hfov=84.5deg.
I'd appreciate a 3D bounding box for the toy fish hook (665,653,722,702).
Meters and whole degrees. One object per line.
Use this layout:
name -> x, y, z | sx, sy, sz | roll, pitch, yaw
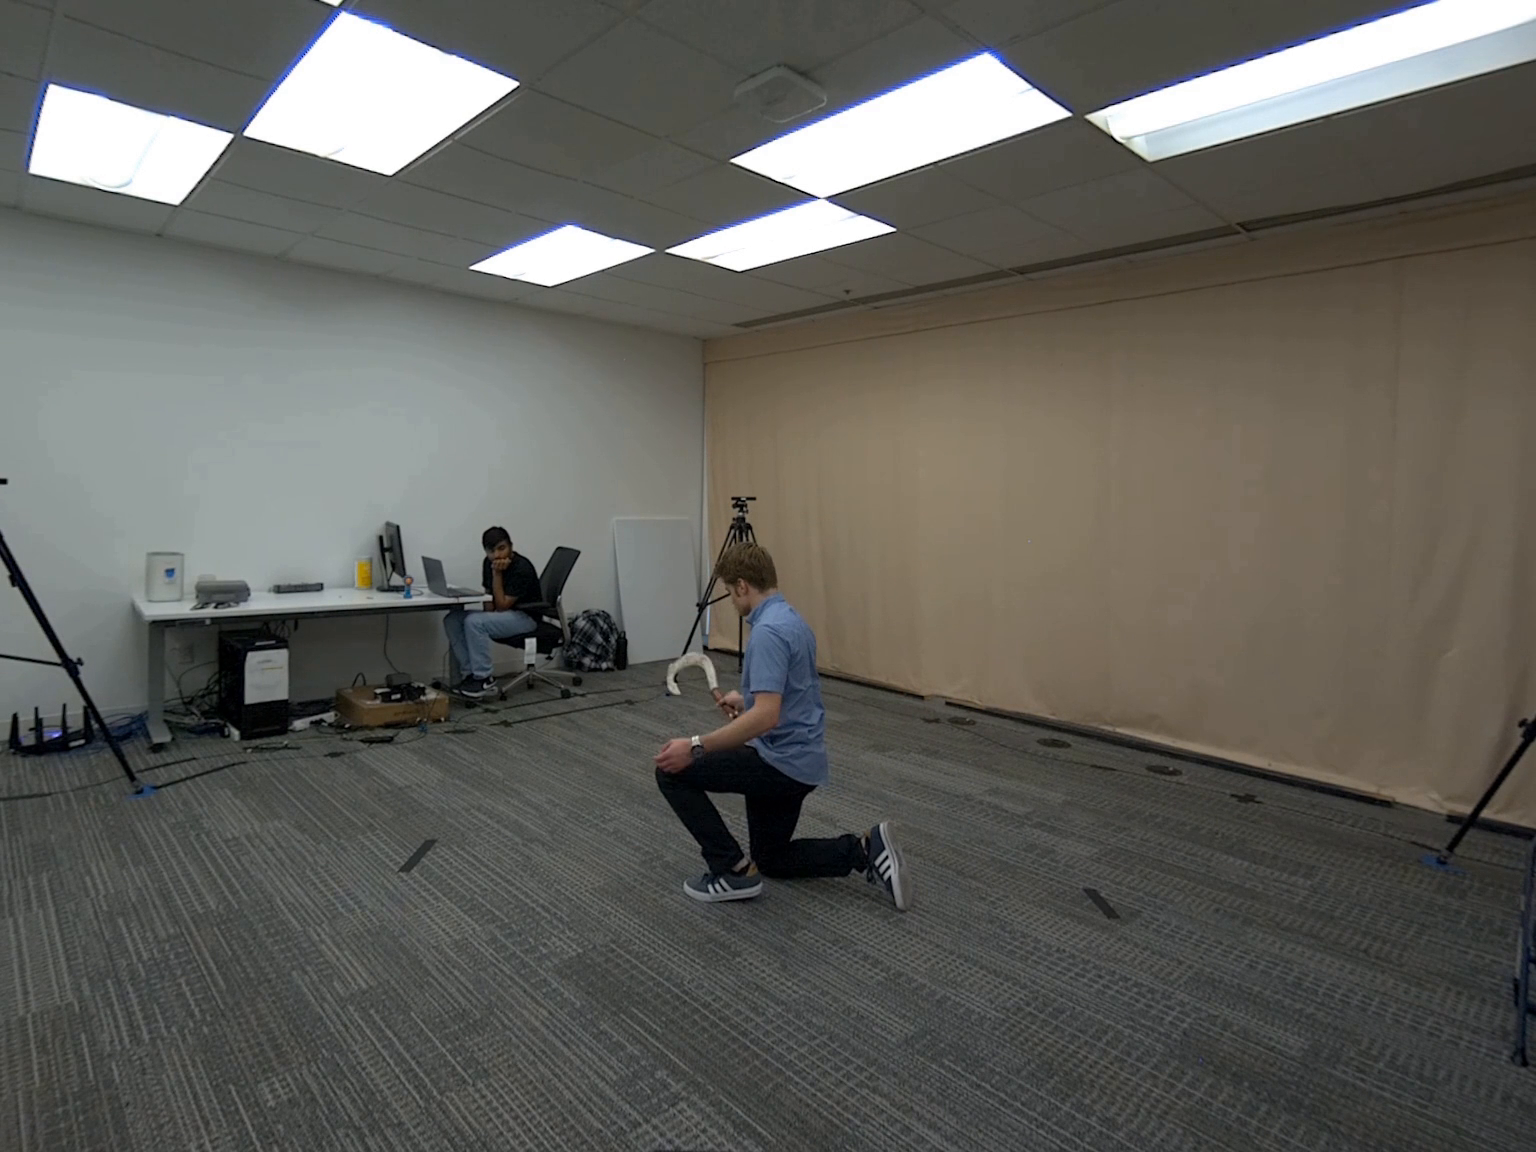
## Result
toy fish hook -> -0.295, 0.518, 3.626 | 0.224, 0.047, 0.522 | -36, 38, -7
